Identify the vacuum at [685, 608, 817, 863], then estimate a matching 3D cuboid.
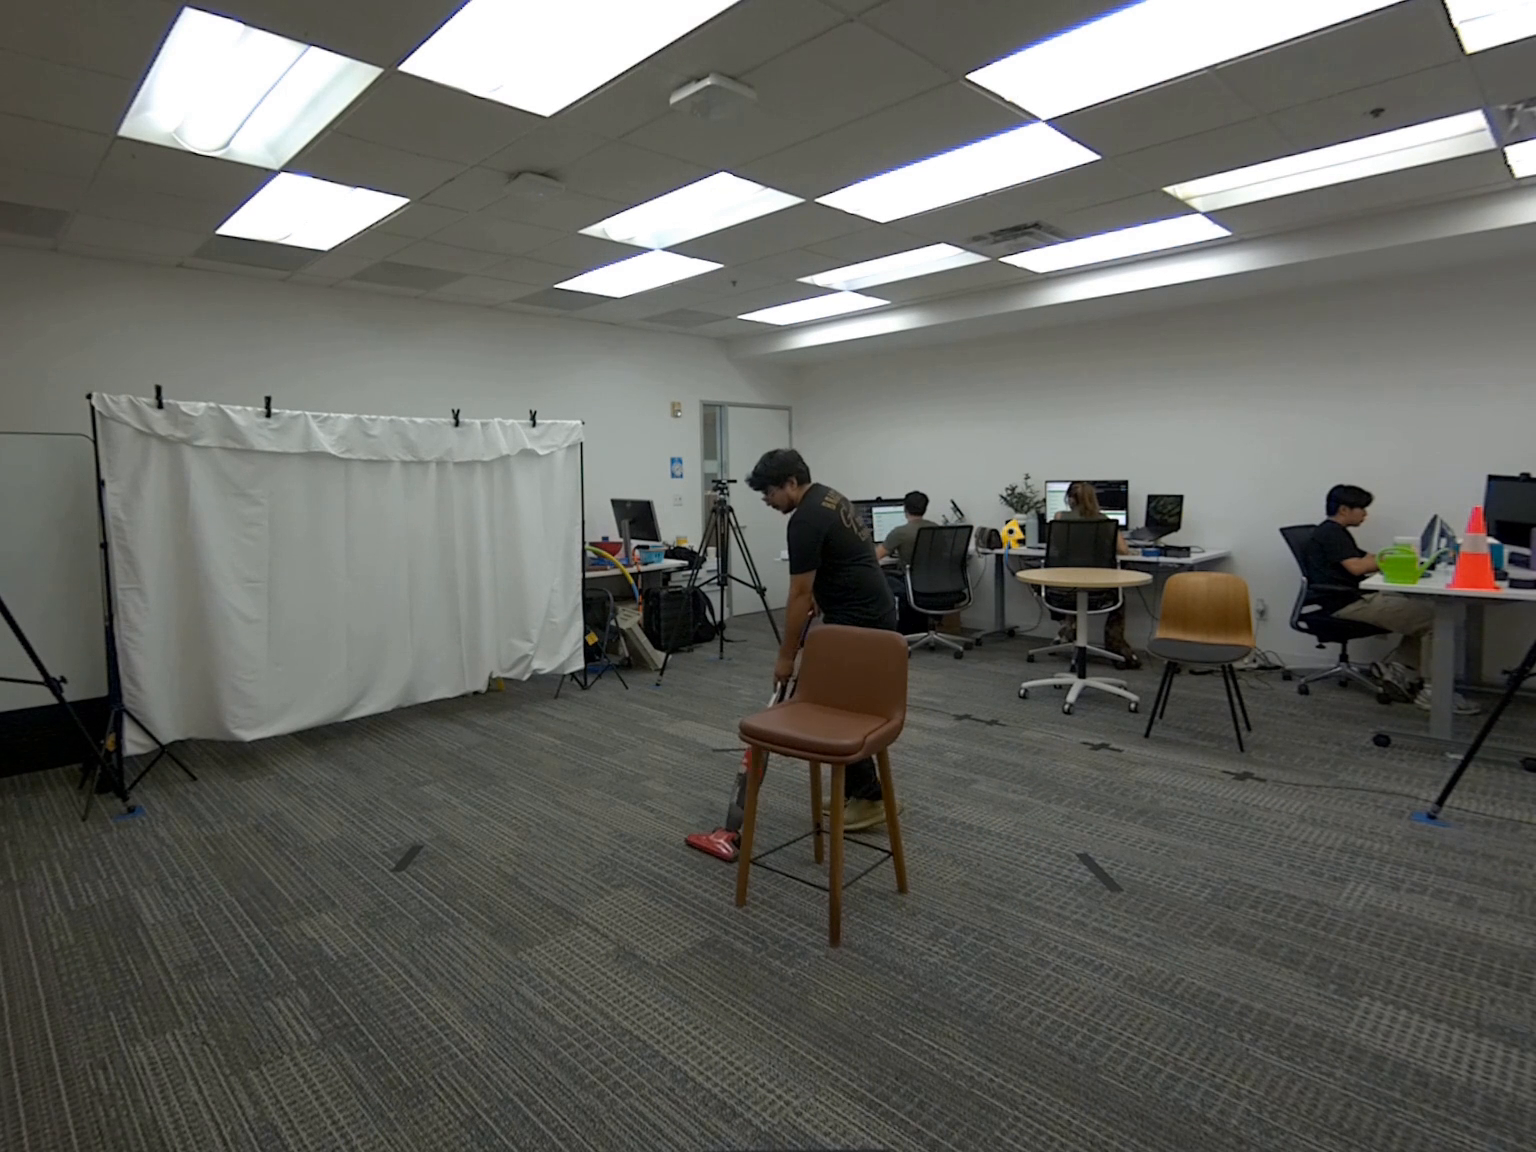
[{"bbox_3d":[0.000,0.587,3.435,0.260,1.059,0.138,3,-30,38],"label":"vacuum"}]
